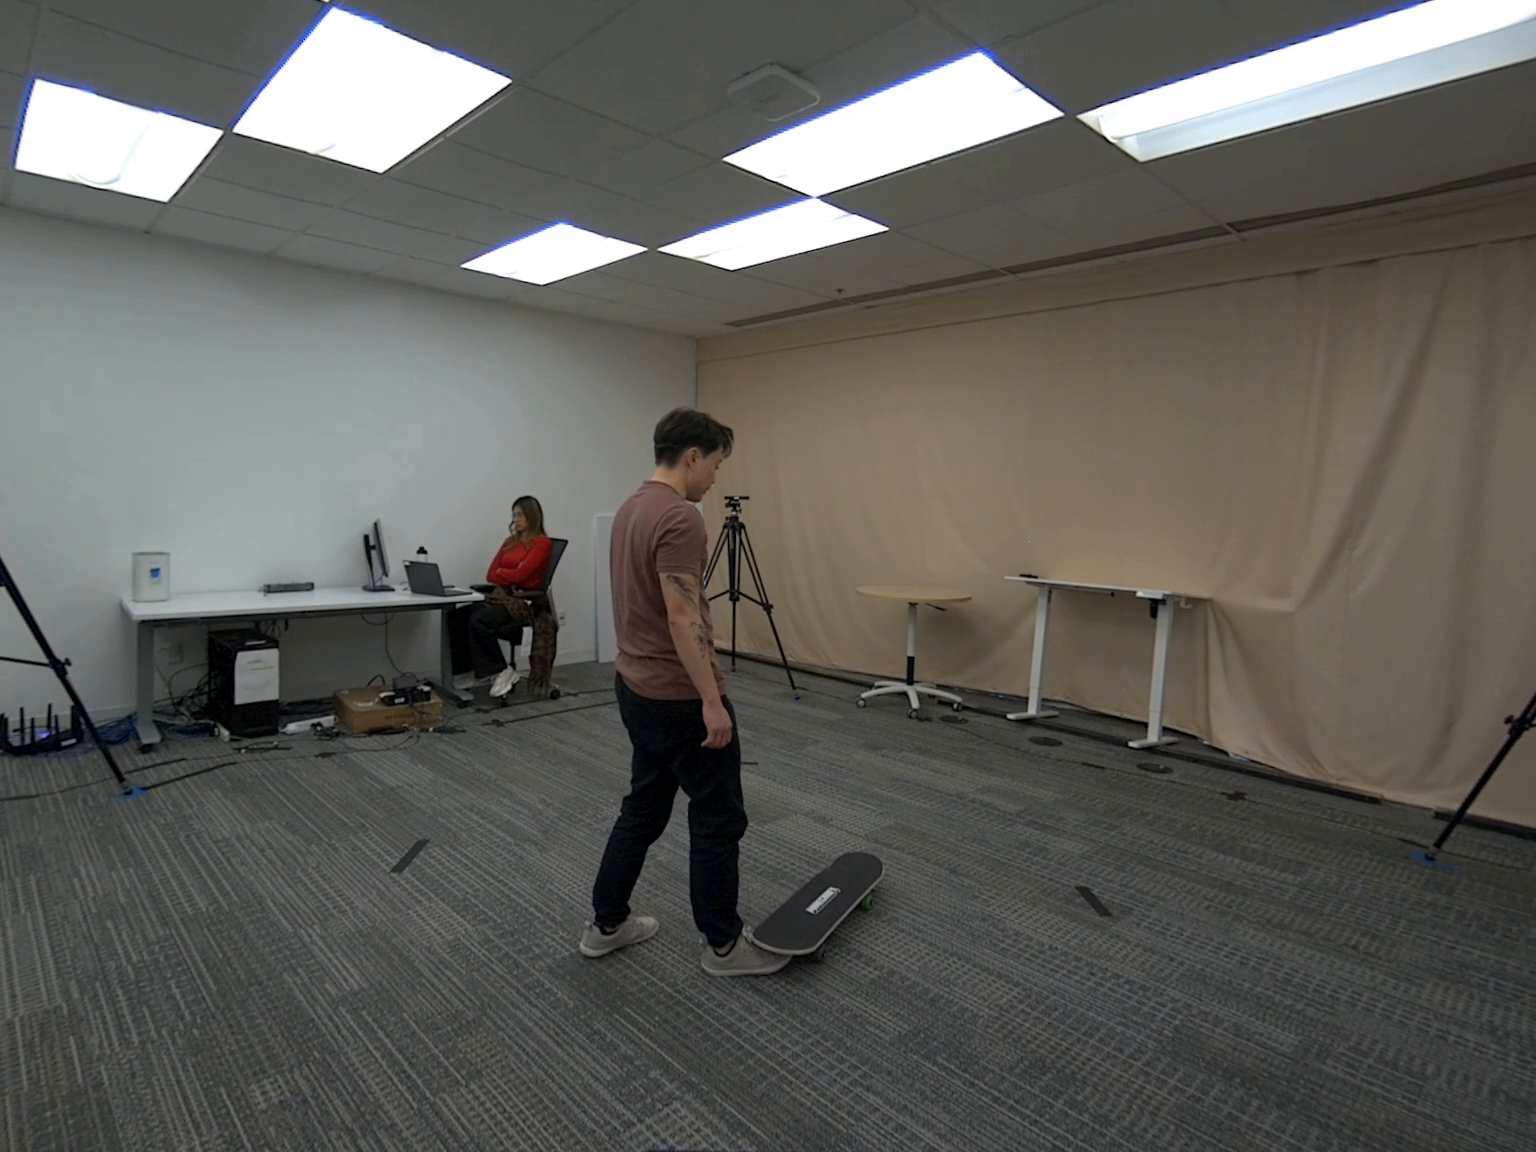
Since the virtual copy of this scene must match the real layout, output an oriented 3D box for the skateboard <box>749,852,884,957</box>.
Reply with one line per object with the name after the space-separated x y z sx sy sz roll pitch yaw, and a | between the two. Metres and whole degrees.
0.174 1.082 2.731 0.197 0.110 0.771 4 5 27 | skateboard
